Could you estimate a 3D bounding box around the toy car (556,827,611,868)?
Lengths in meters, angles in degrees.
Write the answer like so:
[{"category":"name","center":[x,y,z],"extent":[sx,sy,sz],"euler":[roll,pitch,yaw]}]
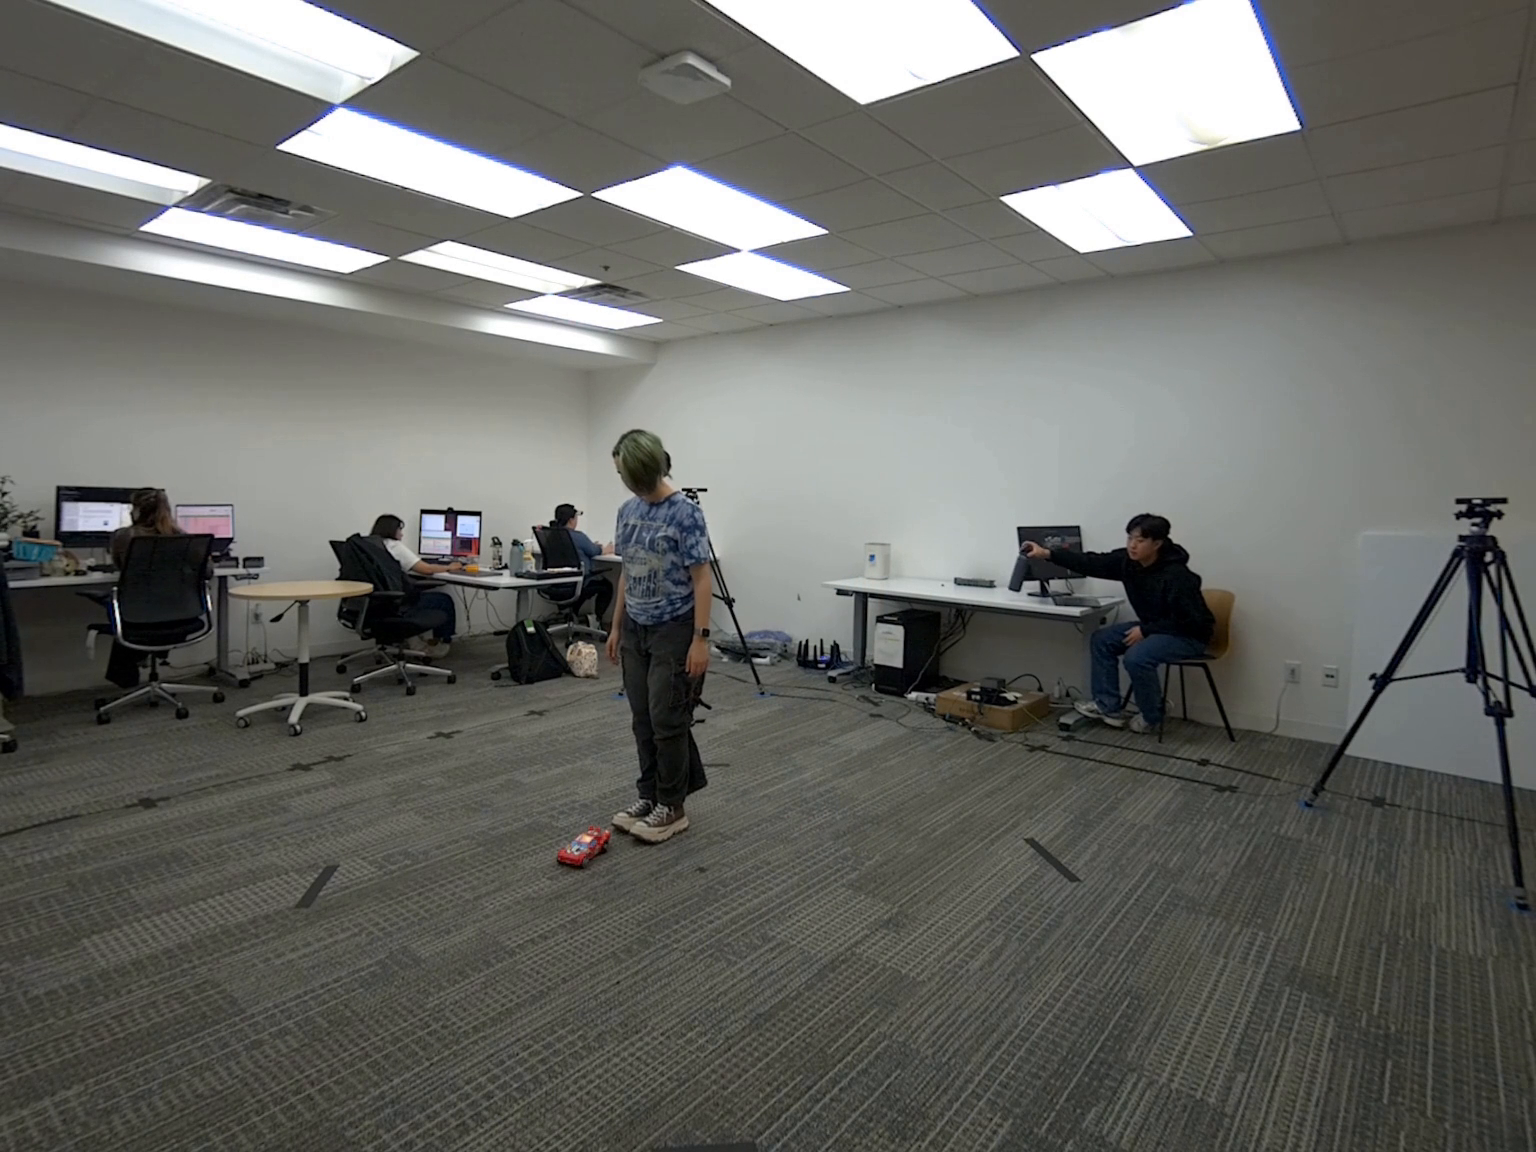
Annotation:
[{"category":"toy car","center":[-0.699,1.023,3.206],"extent":[0.133,0.082,0.252],"euler":[1,15,20]}]
